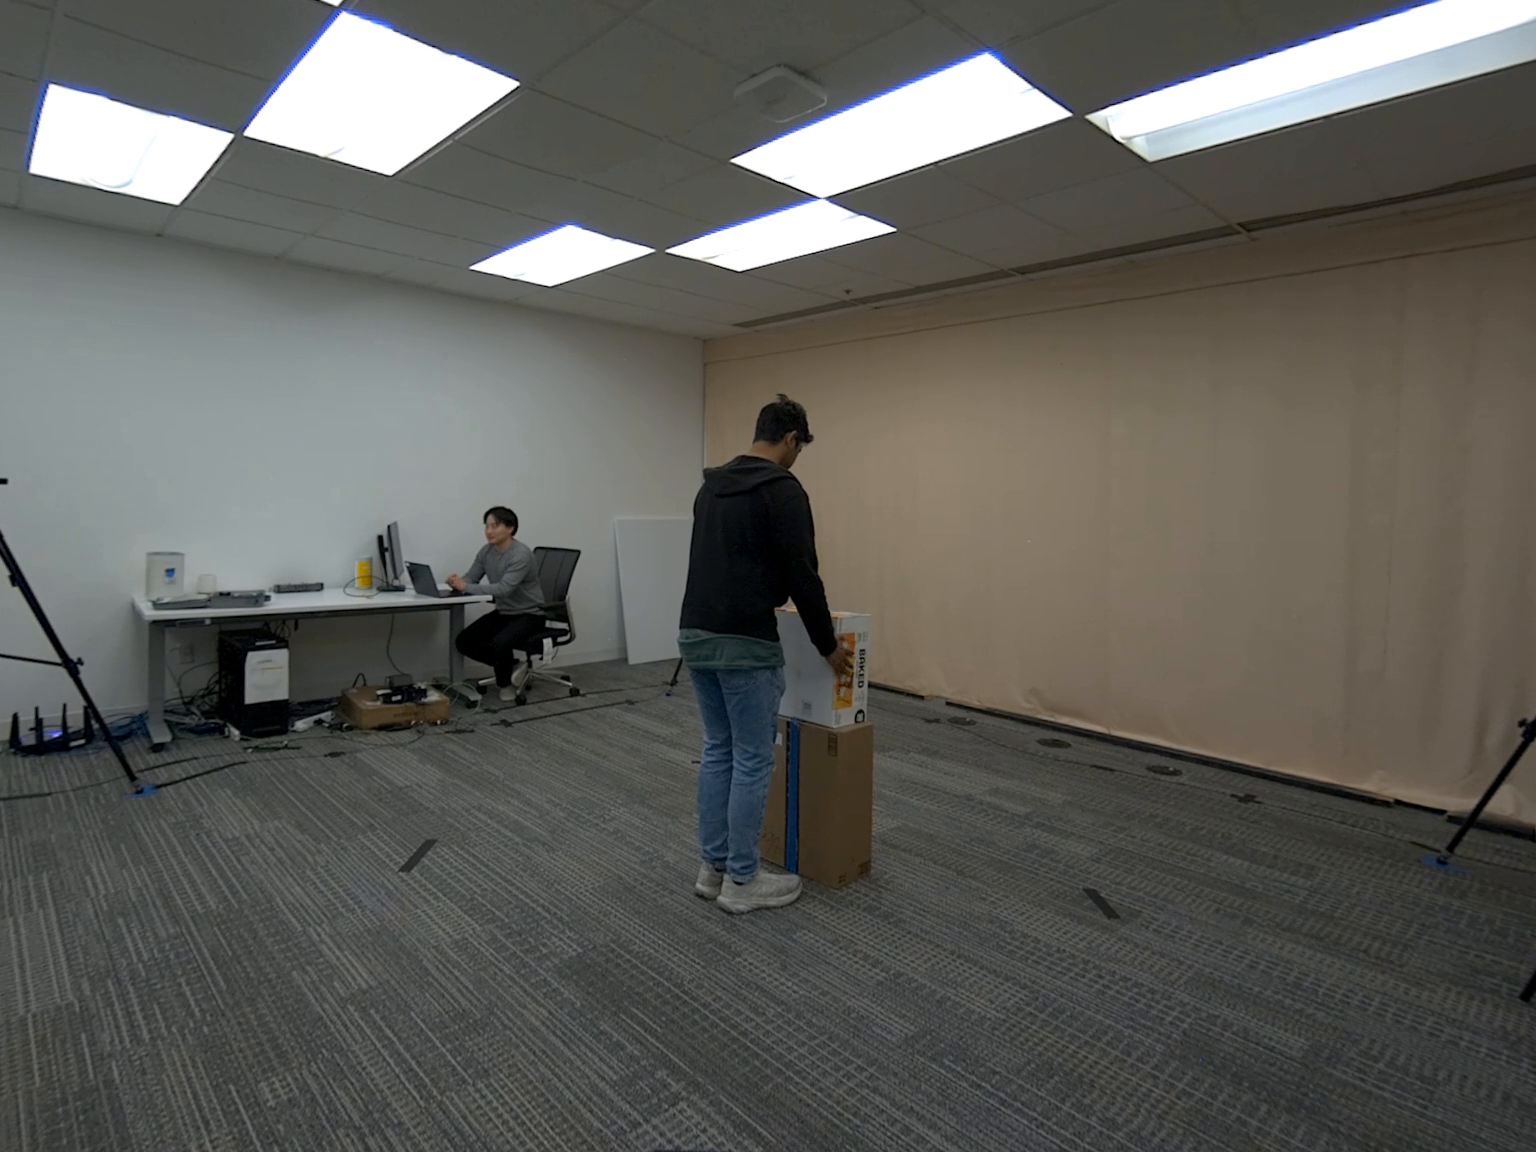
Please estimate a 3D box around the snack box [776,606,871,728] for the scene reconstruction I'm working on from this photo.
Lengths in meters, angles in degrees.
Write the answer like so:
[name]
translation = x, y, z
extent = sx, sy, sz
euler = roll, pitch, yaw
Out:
[snack box]
translation = 0.183, 0.333, 3.221
extent = 0.349, 0.405, 0.201
euler = 5, 3, 45
